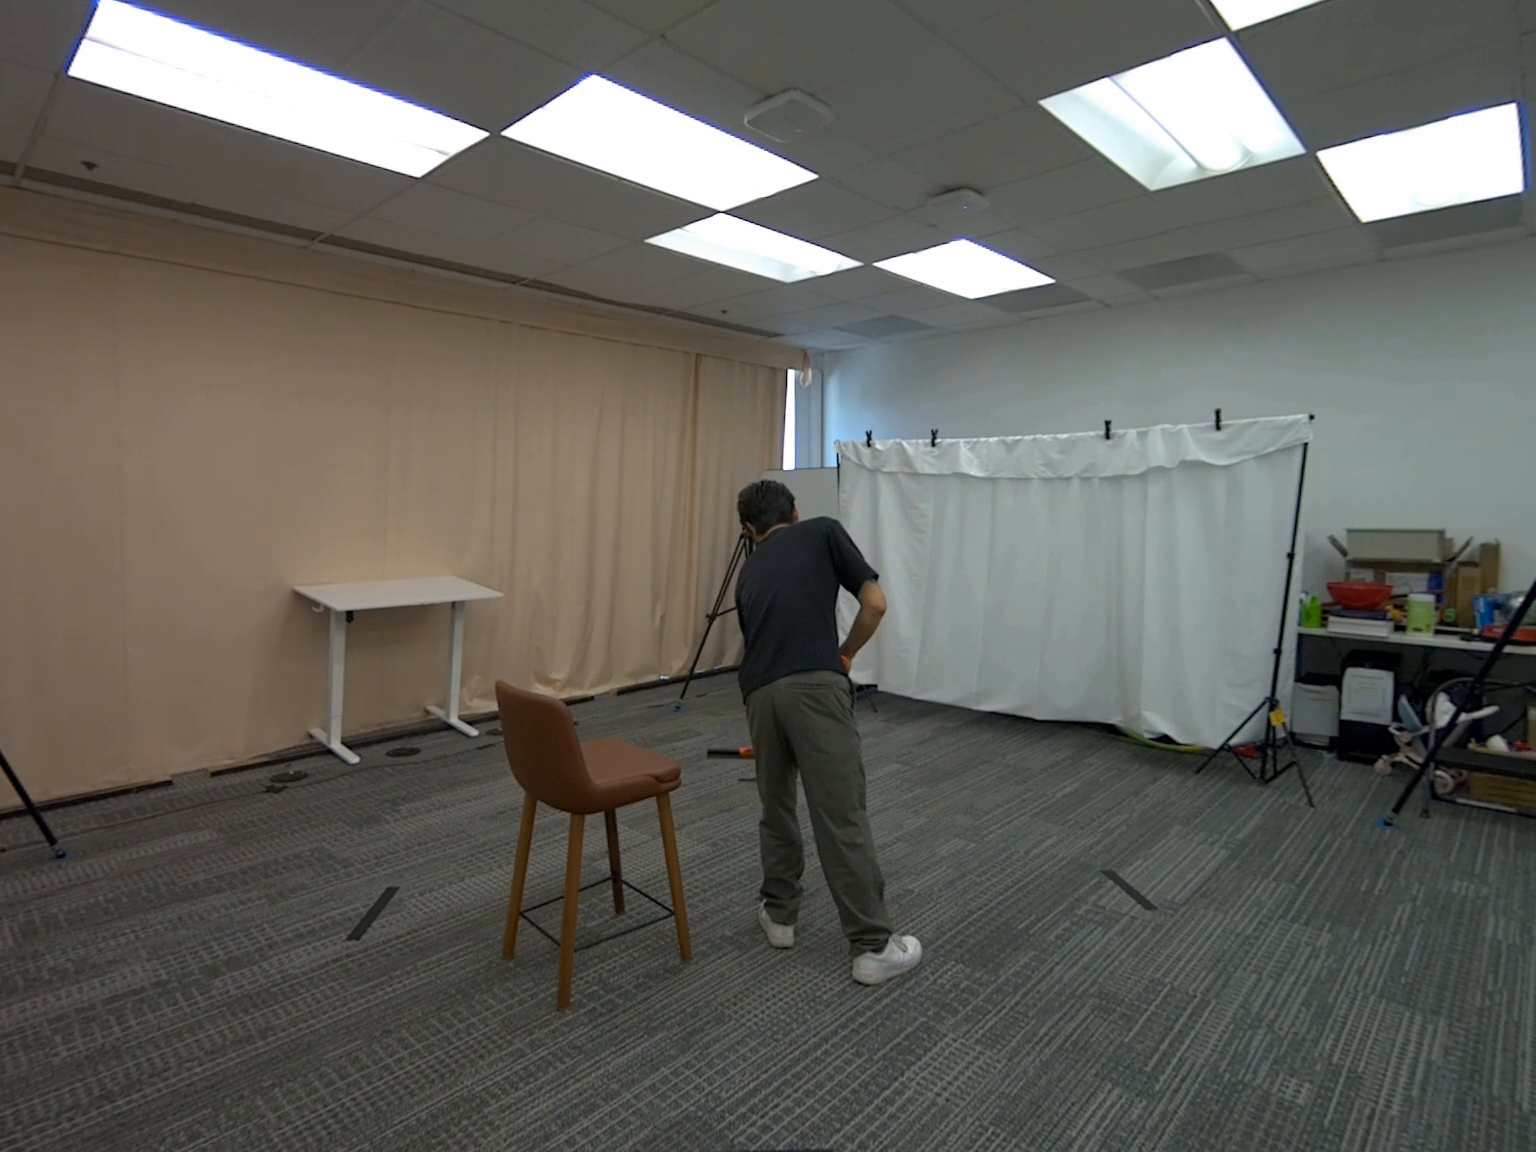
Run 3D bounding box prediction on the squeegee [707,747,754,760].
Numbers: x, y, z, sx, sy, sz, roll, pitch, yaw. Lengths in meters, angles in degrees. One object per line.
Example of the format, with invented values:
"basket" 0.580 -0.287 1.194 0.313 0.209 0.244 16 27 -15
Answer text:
"squeegee" 0.037 0.553 3.375 0.433 0.054 1.531 6 -25 -10
